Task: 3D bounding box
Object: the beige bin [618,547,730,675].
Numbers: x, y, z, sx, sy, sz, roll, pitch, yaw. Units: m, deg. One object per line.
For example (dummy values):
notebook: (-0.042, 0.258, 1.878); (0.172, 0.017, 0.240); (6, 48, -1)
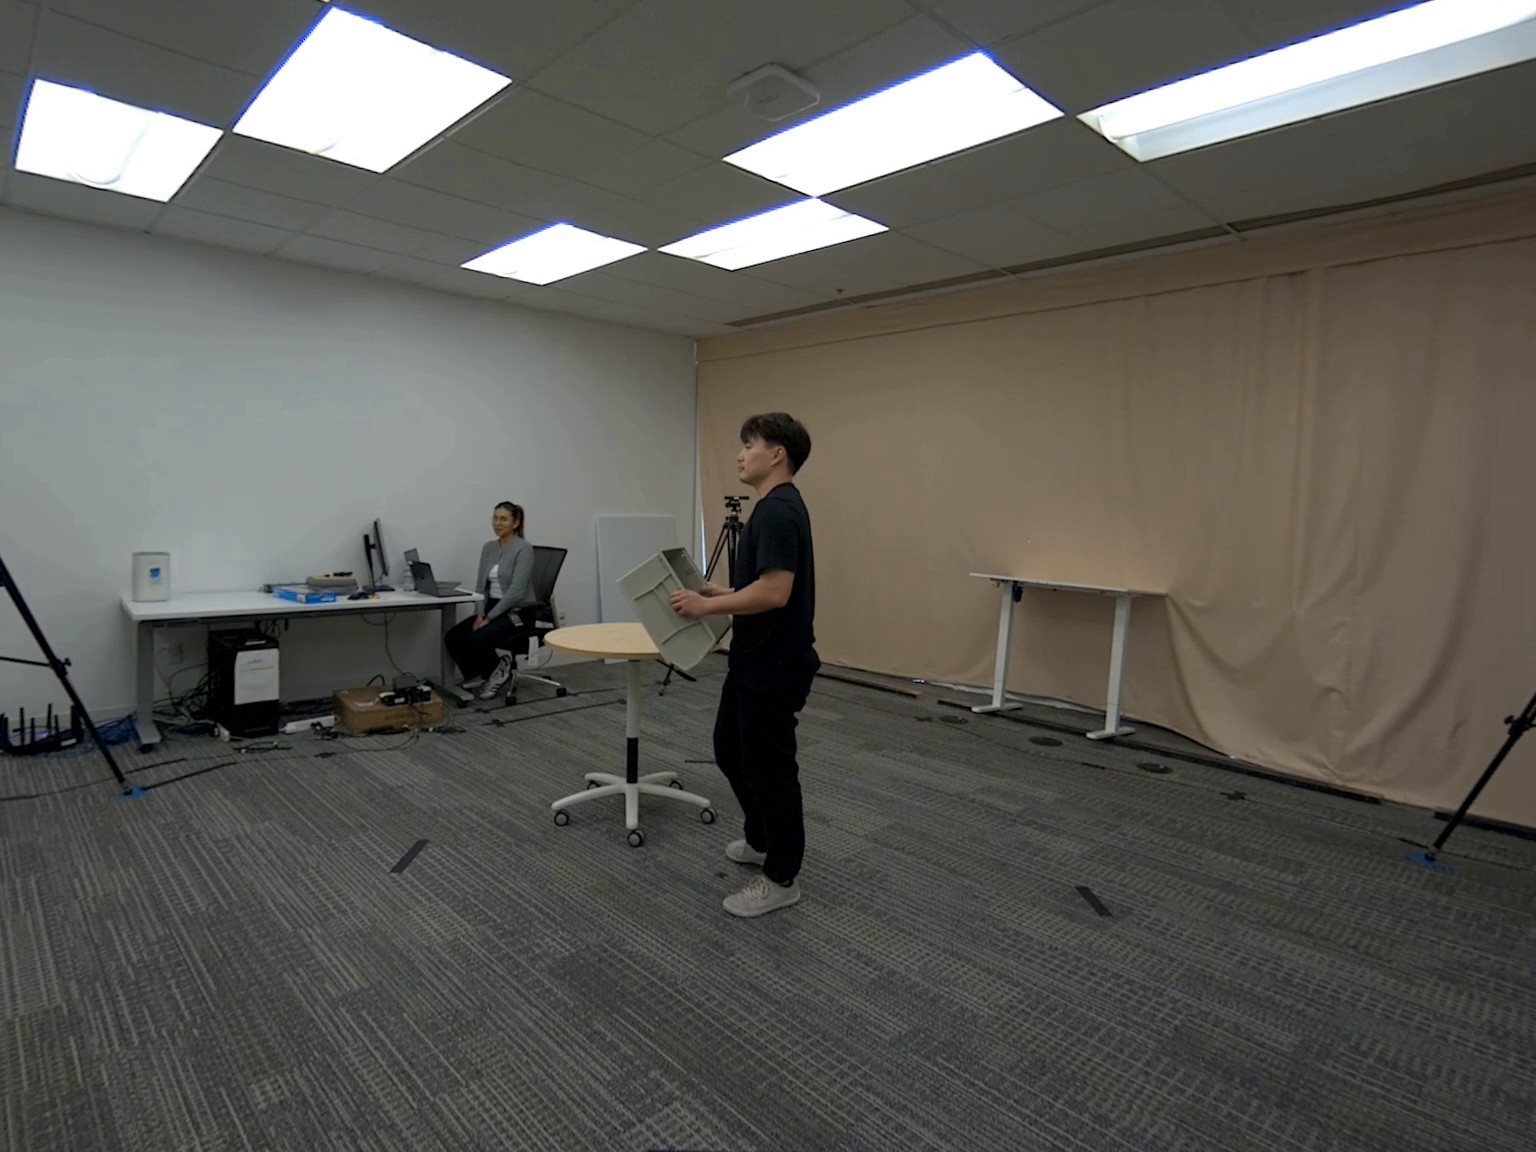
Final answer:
beige bin: (-0.313, 0.109, 2.888); (0.189, 0.378, 0.420); (-34, -1, 8)
